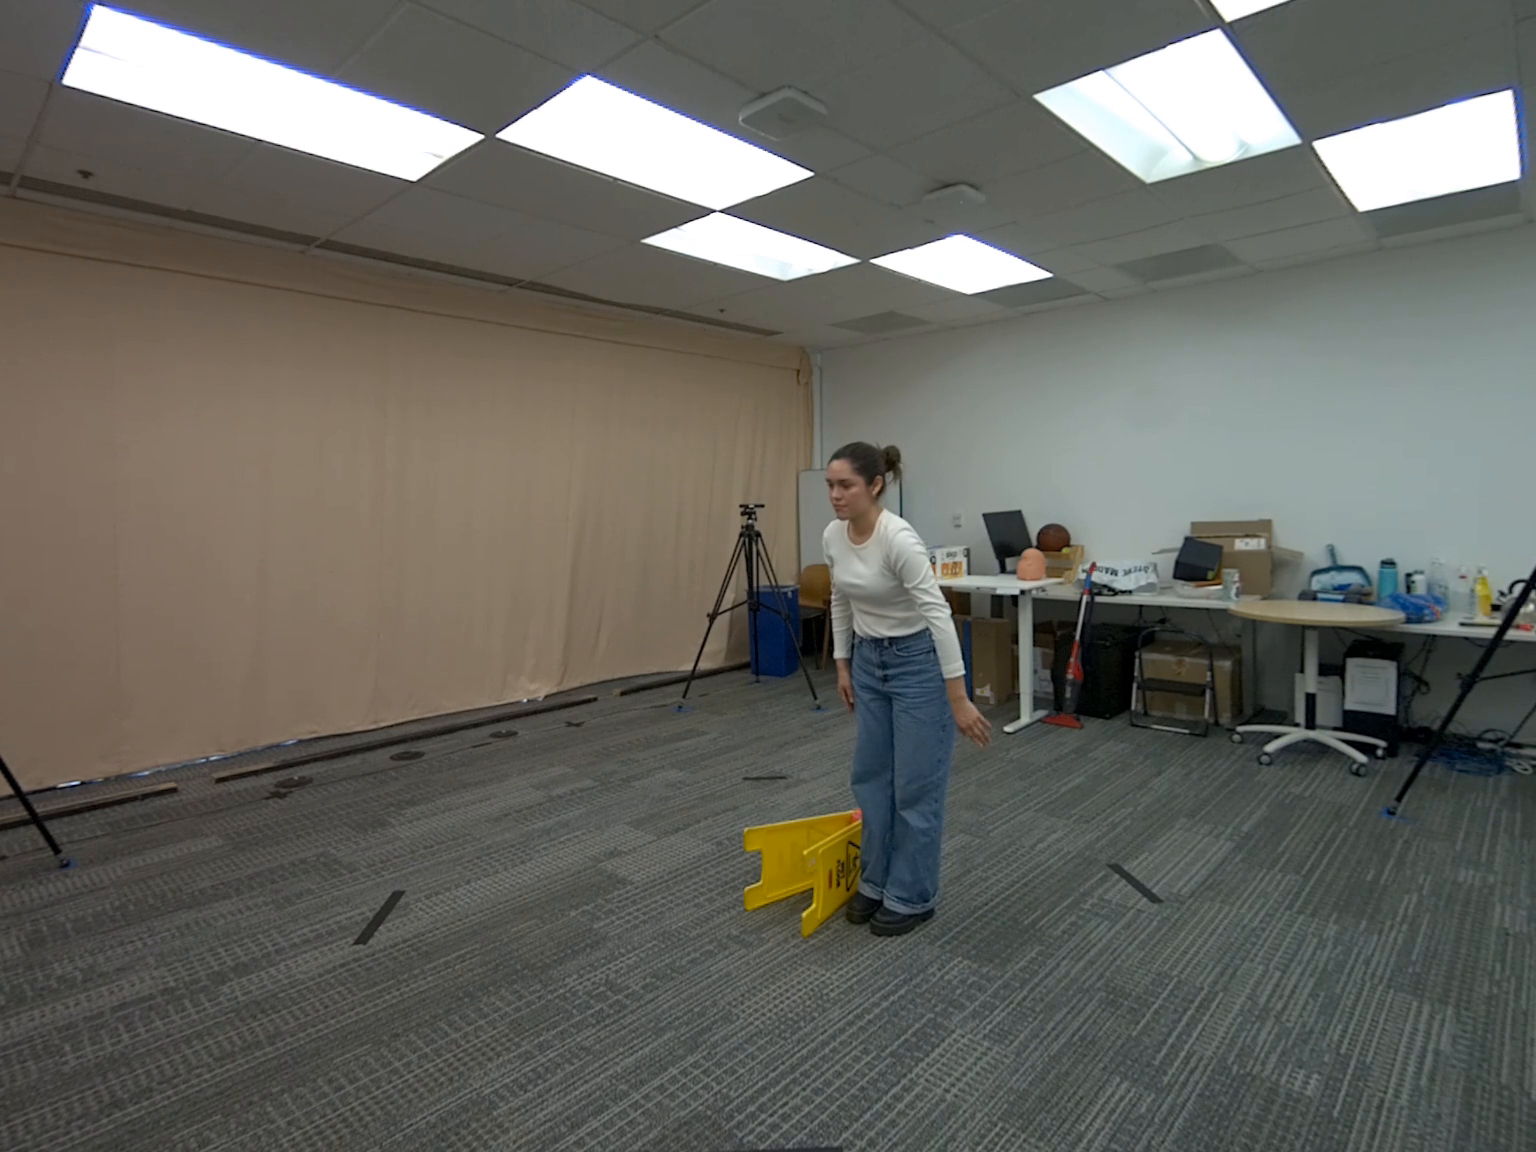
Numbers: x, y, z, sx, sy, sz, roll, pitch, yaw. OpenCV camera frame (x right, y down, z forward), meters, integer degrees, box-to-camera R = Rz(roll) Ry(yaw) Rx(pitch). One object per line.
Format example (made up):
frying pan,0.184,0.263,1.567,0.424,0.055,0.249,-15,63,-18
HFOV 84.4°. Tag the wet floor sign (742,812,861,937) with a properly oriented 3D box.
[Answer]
wet floor sign,0.236,1.003,3.015,0.299,0.282,0.626,4,5,44
